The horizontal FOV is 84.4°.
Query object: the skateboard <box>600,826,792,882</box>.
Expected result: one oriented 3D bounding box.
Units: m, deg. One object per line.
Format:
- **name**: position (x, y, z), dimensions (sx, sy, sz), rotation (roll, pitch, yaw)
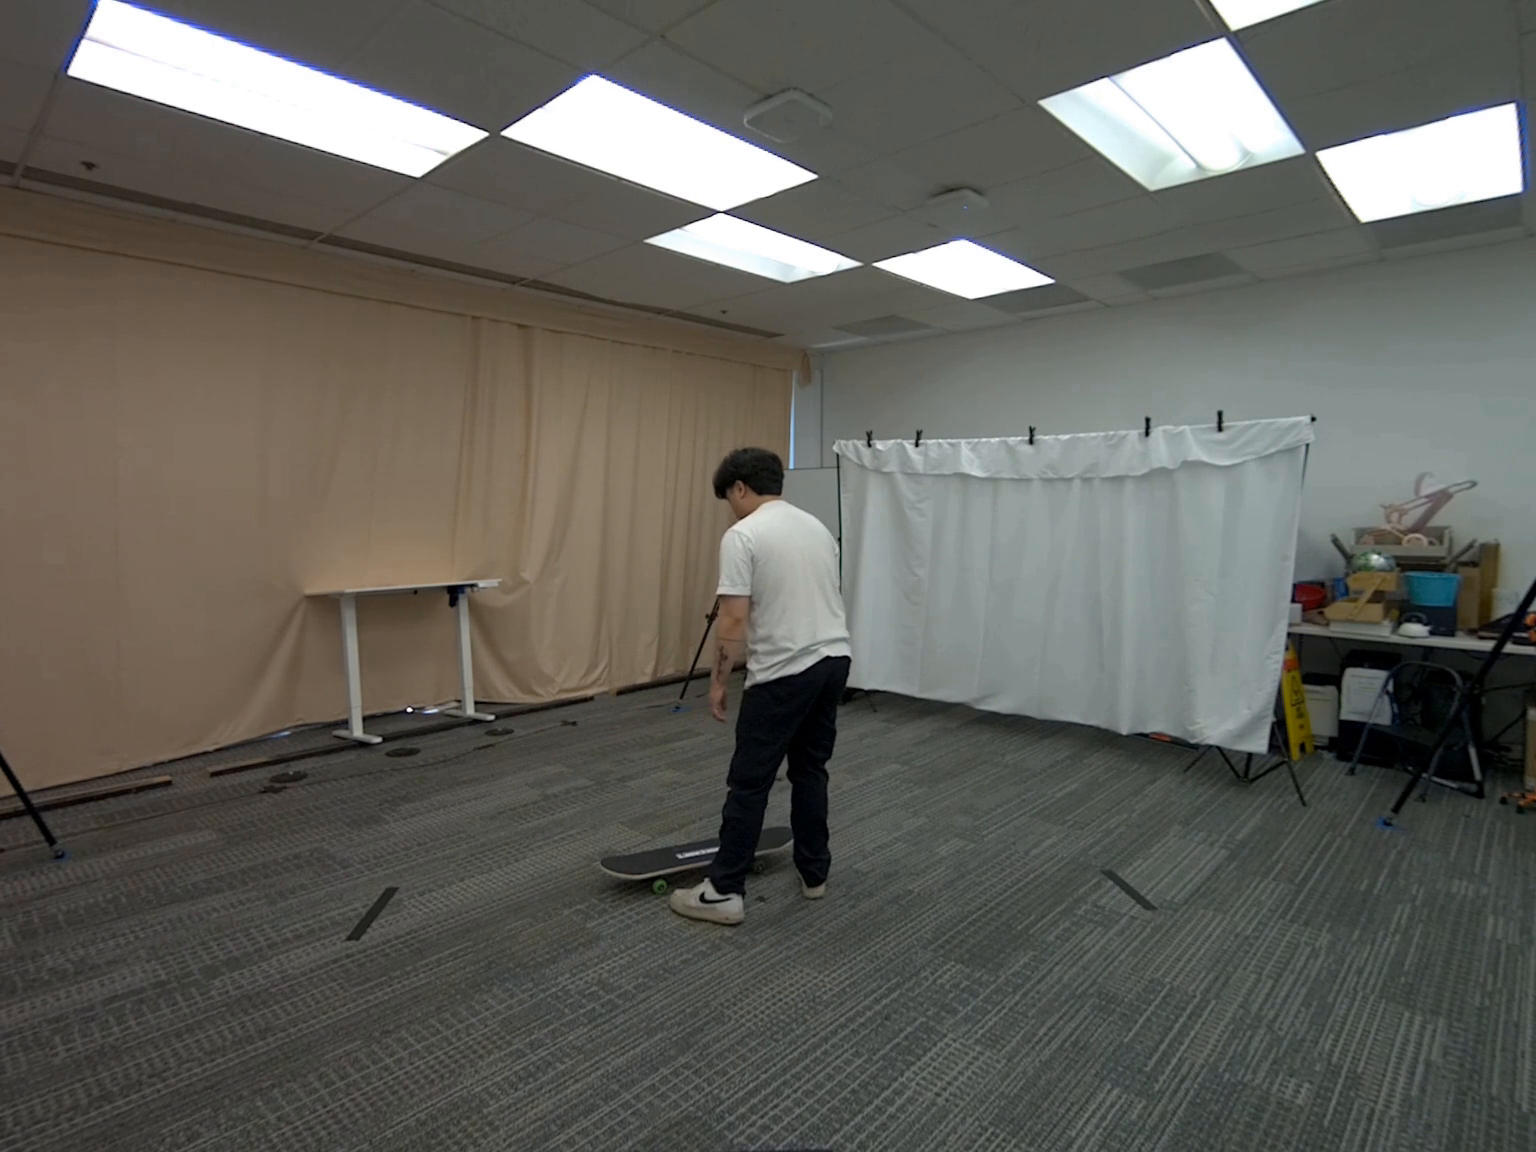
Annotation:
- **skateboard**: position (-0.251, 1.072, 3.172), dimensions (0.767, 0.110, 0.198), rotation (-2, 4, -24)
